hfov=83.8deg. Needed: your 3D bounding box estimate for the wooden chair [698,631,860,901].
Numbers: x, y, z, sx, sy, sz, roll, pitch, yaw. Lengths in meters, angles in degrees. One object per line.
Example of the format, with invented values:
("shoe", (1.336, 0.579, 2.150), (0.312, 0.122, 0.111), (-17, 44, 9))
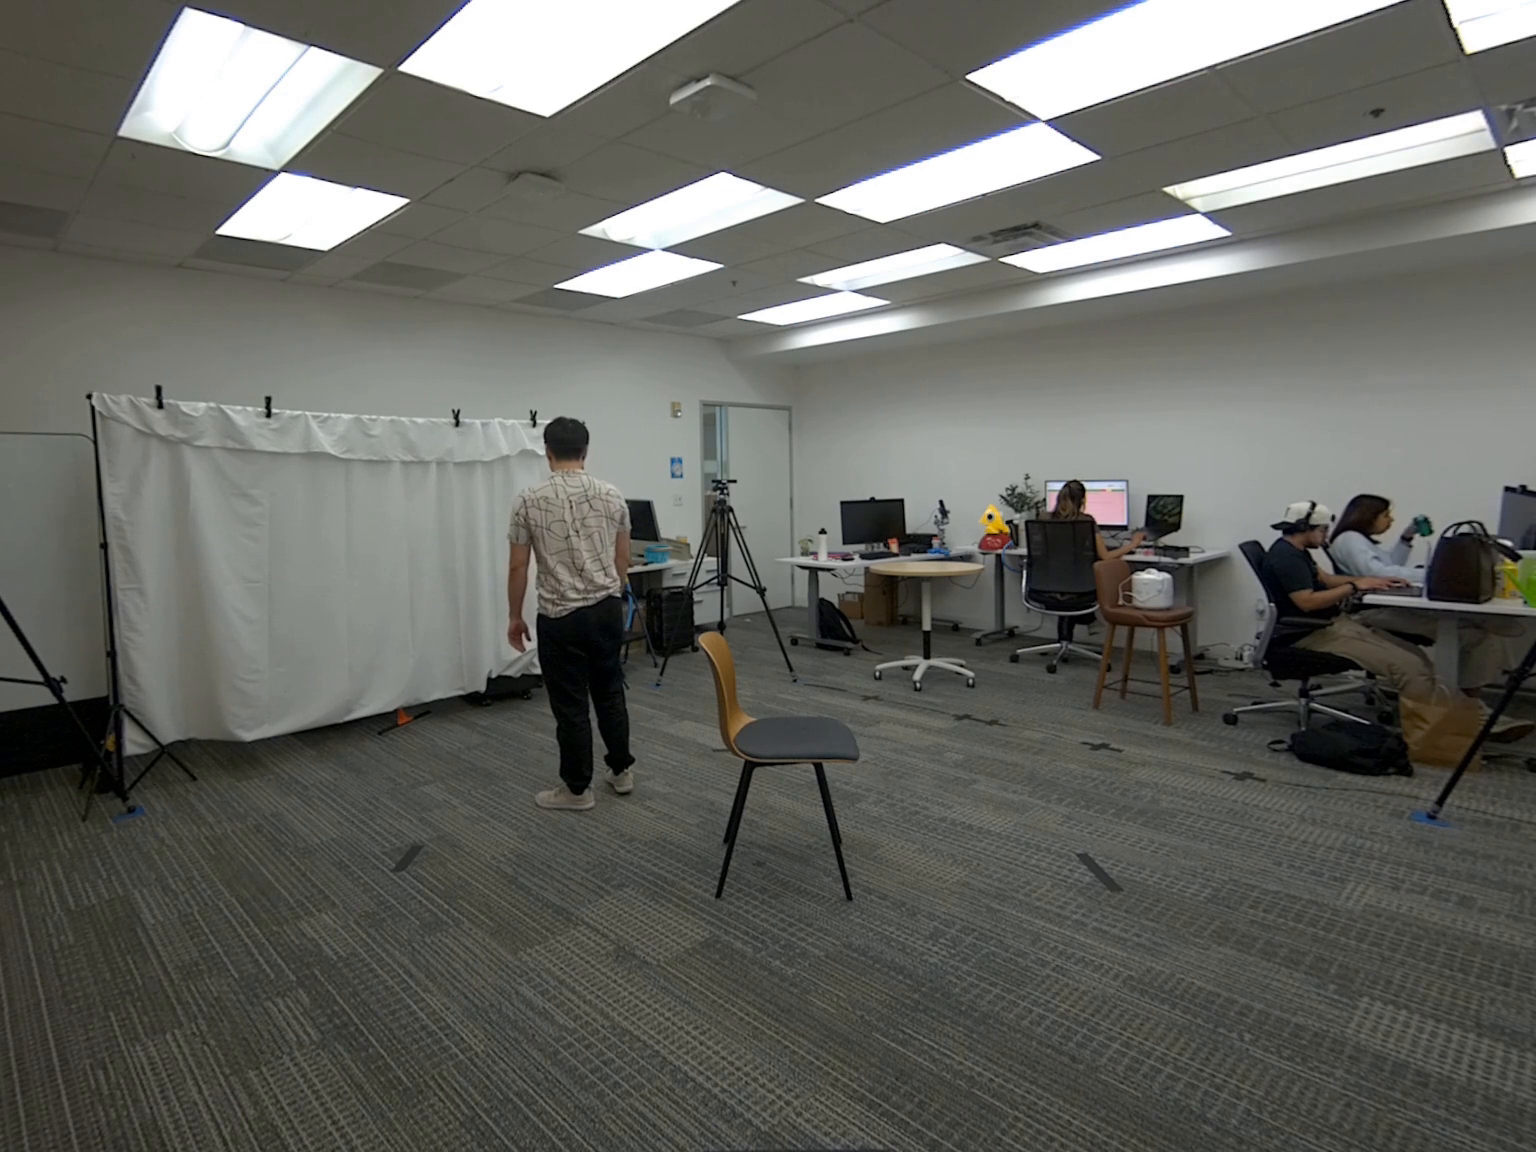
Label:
("wooden chair", (0.057, 0.628, 3.032), (0.524, 0.875, 0.479), (-5, 3, 2))
